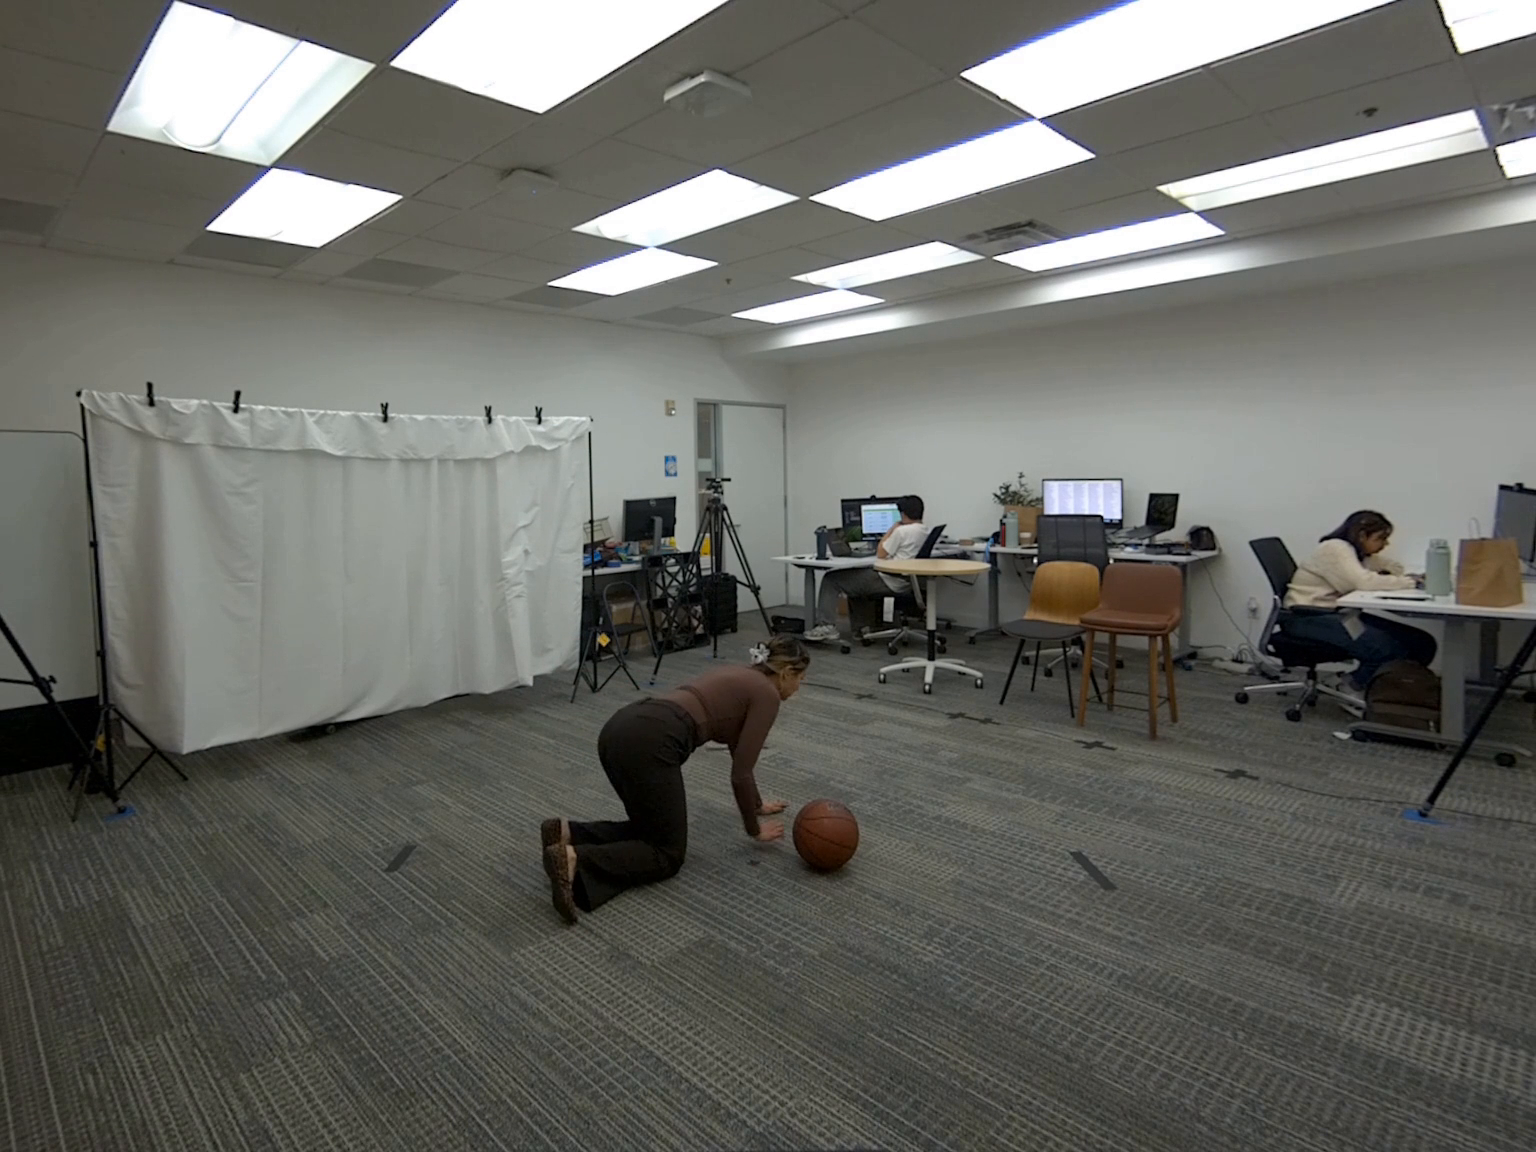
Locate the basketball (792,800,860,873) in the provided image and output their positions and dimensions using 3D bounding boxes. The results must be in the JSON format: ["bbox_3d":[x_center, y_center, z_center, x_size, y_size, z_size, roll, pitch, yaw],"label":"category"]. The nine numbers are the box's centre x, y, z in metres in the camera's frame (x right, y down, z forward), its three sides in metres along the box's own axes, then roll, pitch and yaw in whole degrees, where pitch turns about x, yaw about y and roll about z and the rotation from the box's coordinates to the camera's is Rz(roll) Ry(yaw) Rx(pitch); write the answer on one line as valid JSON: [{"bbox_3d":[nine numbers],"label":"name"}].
[{"bbox_3d":[0.205,0.917,3.063,0.236,0.235,0.237,-1,5,-2],"label":"basketball"}]
